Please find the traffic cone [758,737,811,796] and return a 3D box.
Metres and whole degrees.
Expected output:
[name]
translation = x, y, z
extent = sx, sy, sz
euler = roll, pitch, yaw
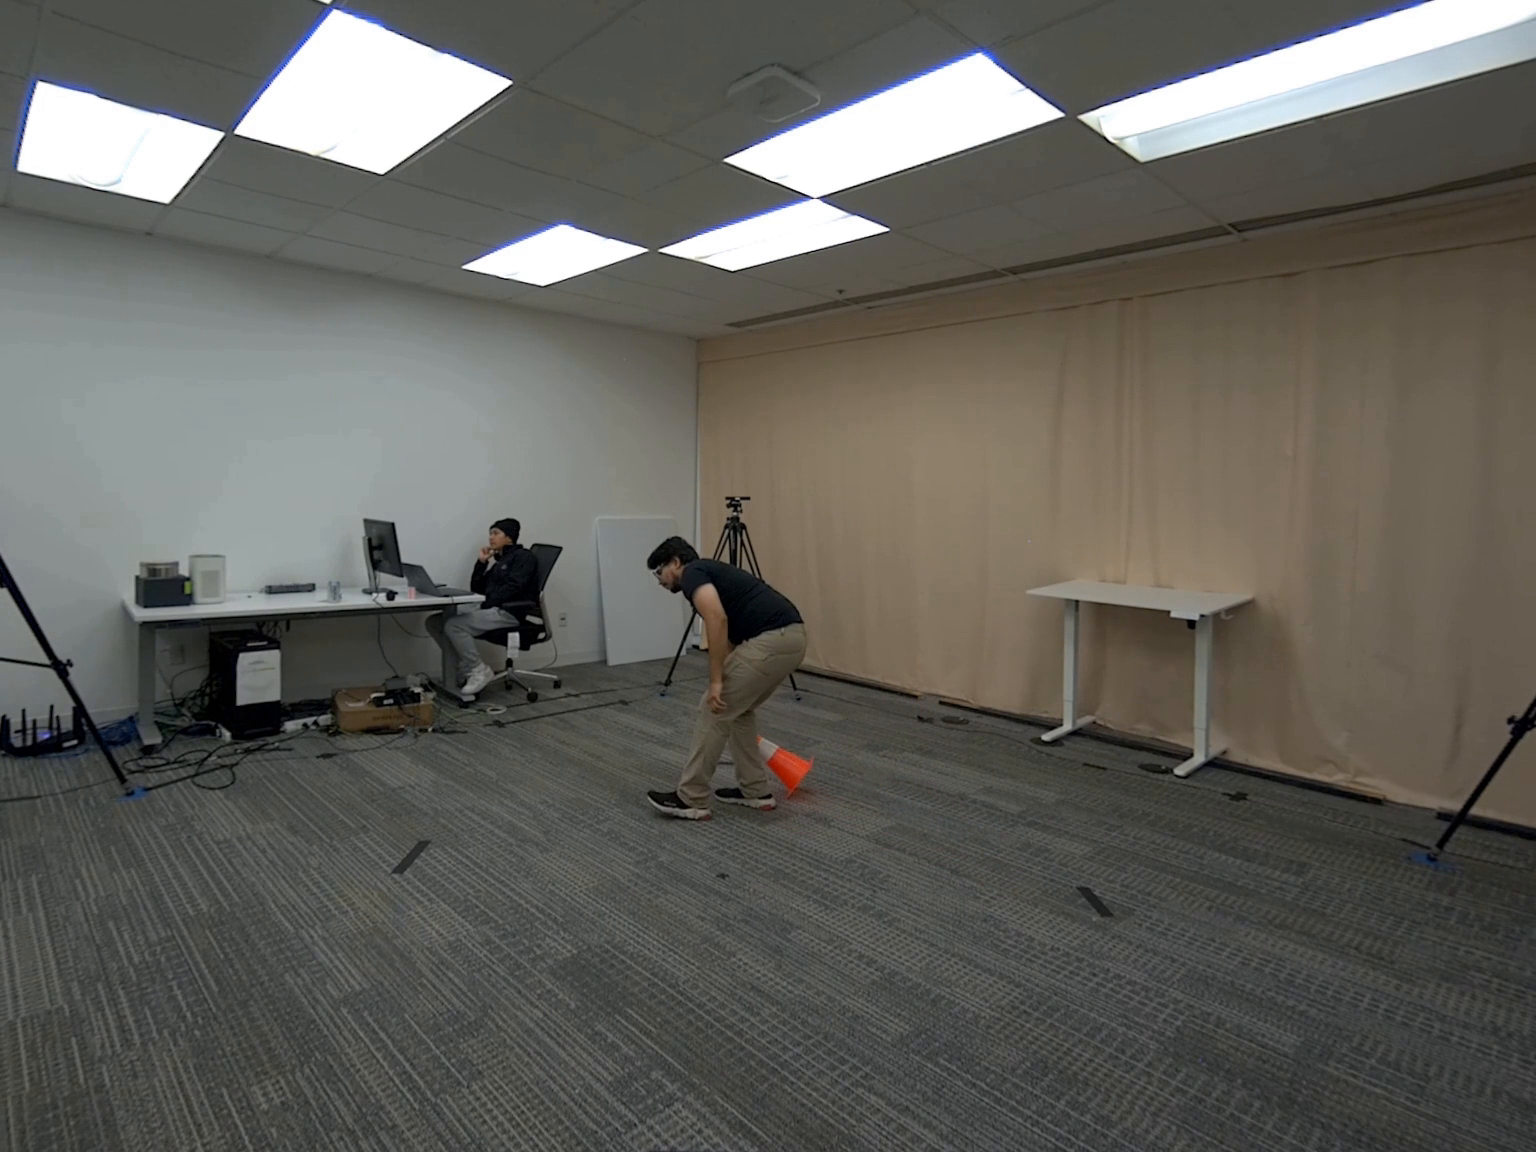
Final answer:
[traffic cone]
translation = -0.007, 0.843, 4.036
extent = 0.387, 0.205, 0.202
euler = 37, 6, 7
